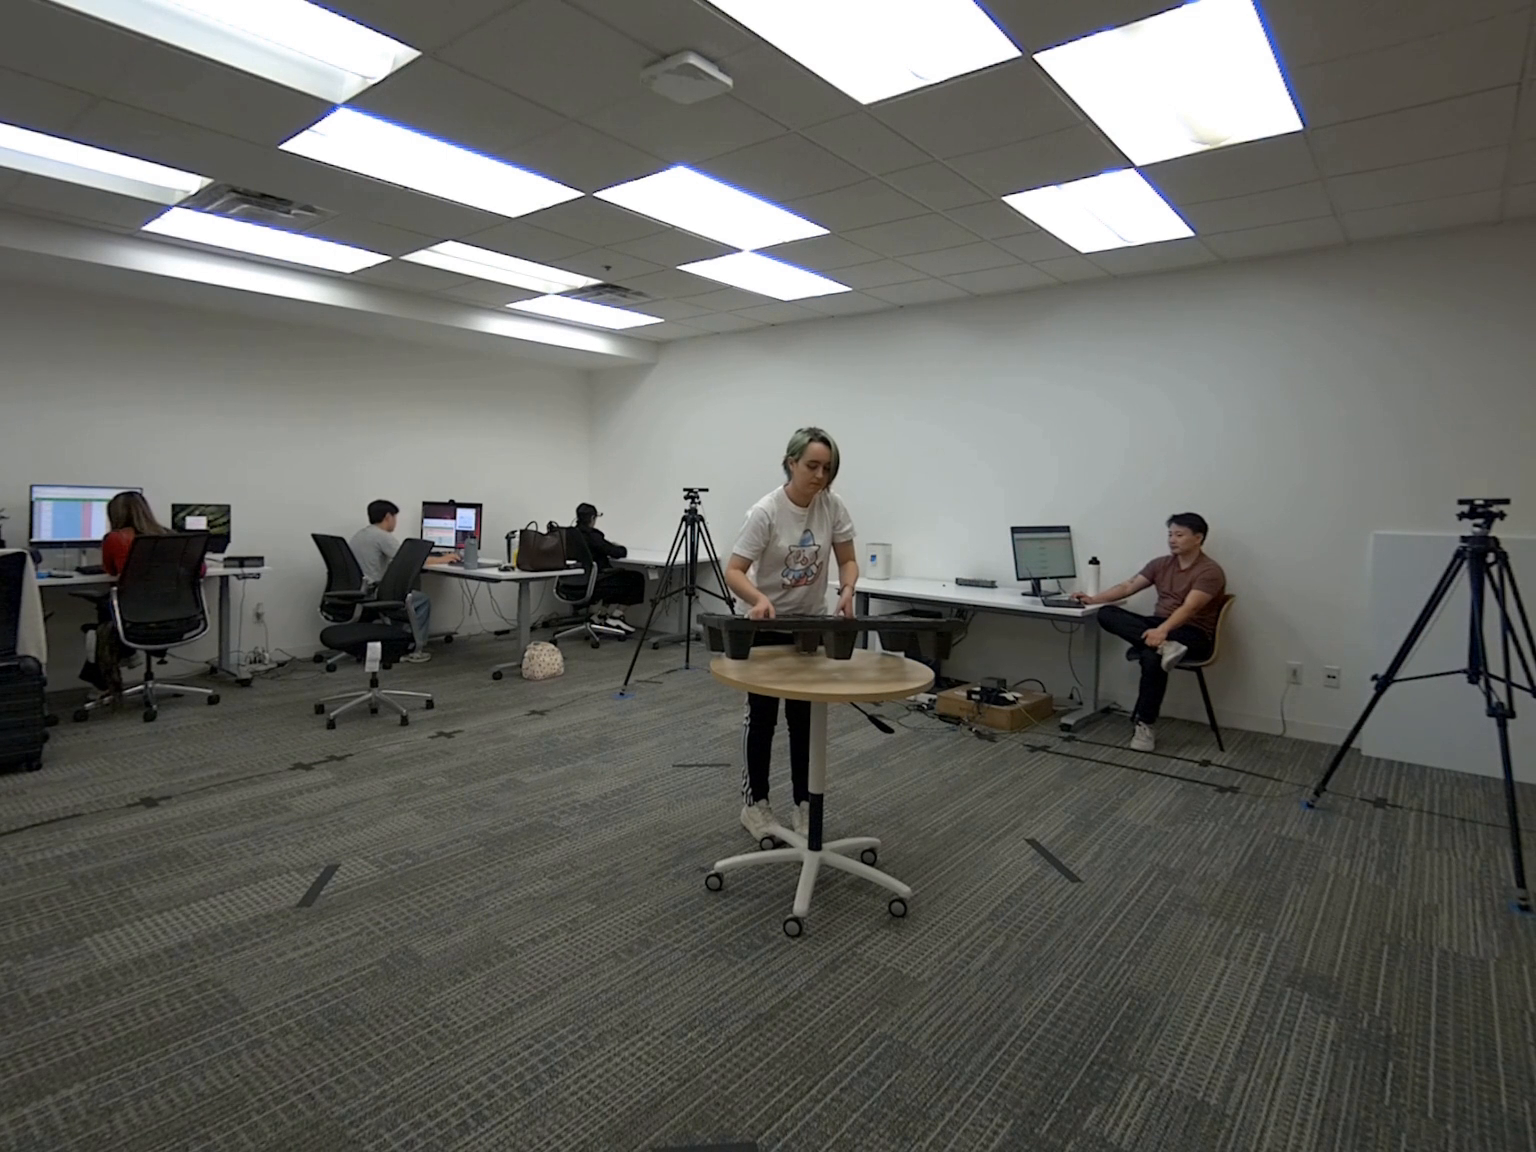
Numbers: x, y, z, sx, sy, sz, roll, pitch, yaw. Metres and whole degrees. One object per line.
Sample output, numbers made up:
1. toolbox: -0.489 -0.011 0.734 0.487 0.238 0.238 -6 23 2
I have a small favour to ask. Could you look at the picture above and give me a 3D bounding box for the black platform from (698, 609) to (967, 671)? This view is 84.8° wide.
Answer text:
1. black platform: 0.170 0.205 2.970 0.795 0.144 0.611 0 -2 -12
